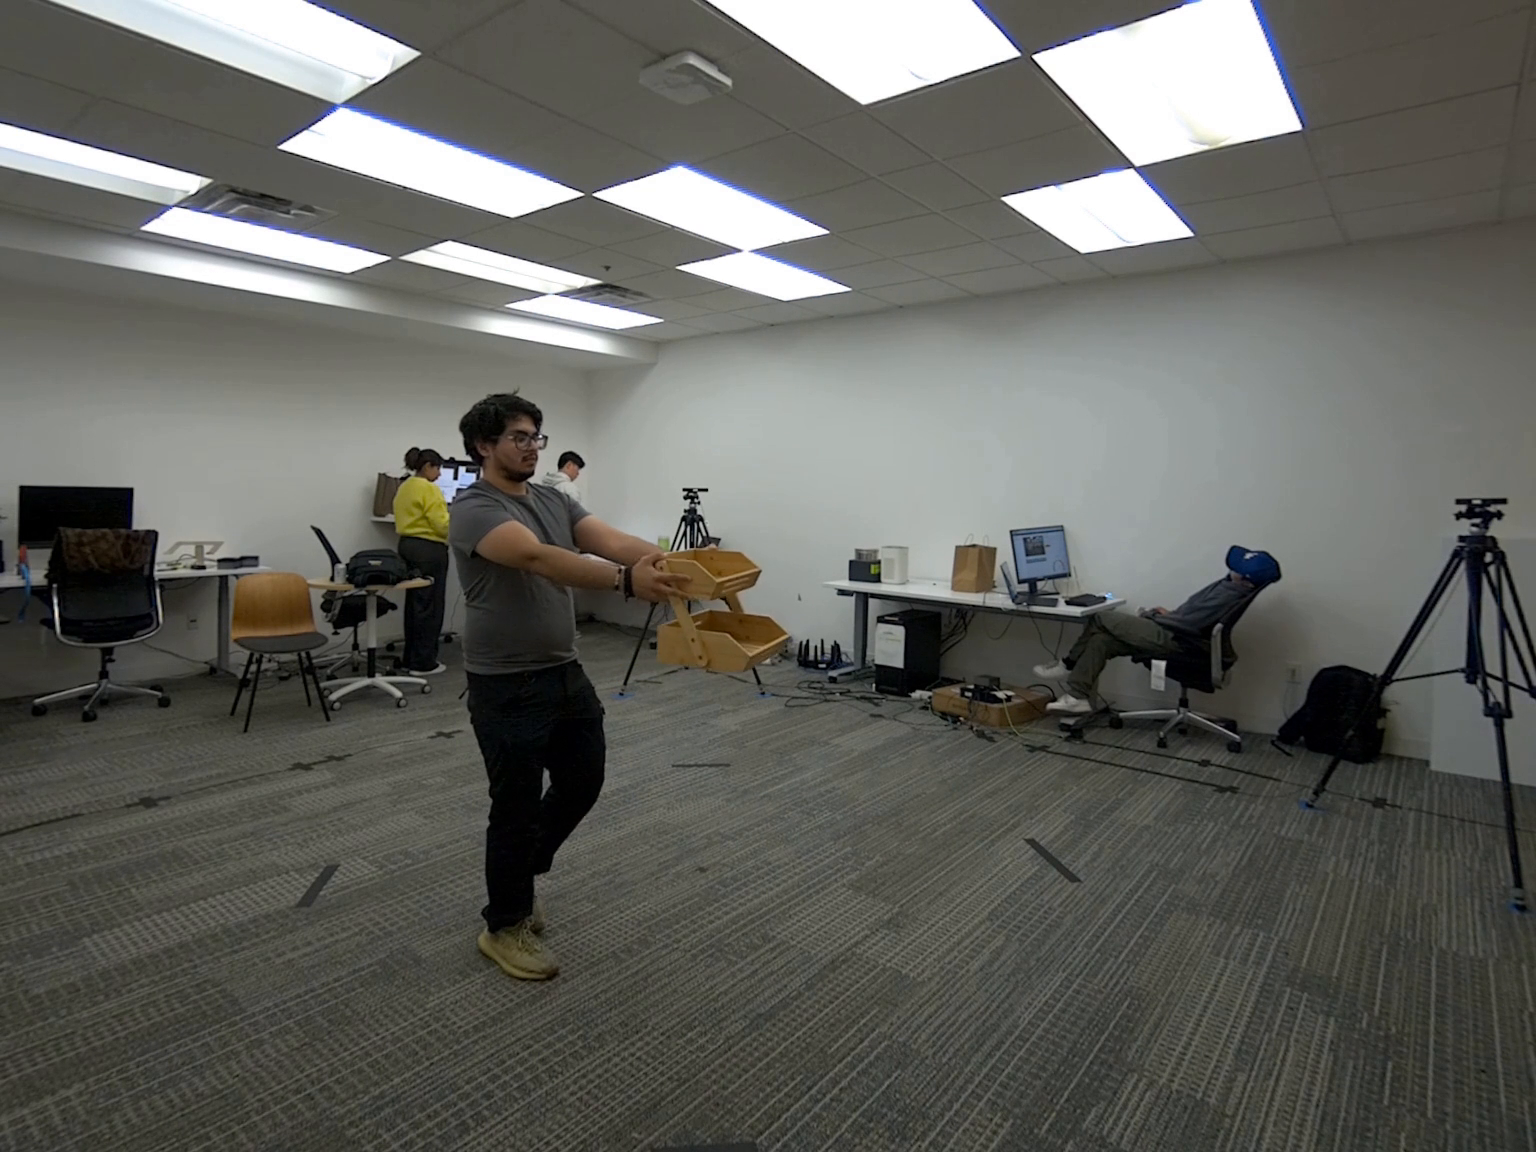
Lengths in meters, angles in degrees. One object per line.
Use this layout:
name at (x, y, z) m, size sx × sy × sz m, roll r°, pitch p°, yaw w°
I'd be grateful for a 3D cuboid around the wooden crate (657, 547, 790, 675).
wooden crate at (-0.130, 0.076, 2.210) m, size 0.309 × 0.272 × 0.319 m, roll 3°, pitch 6°, yaw 20°
